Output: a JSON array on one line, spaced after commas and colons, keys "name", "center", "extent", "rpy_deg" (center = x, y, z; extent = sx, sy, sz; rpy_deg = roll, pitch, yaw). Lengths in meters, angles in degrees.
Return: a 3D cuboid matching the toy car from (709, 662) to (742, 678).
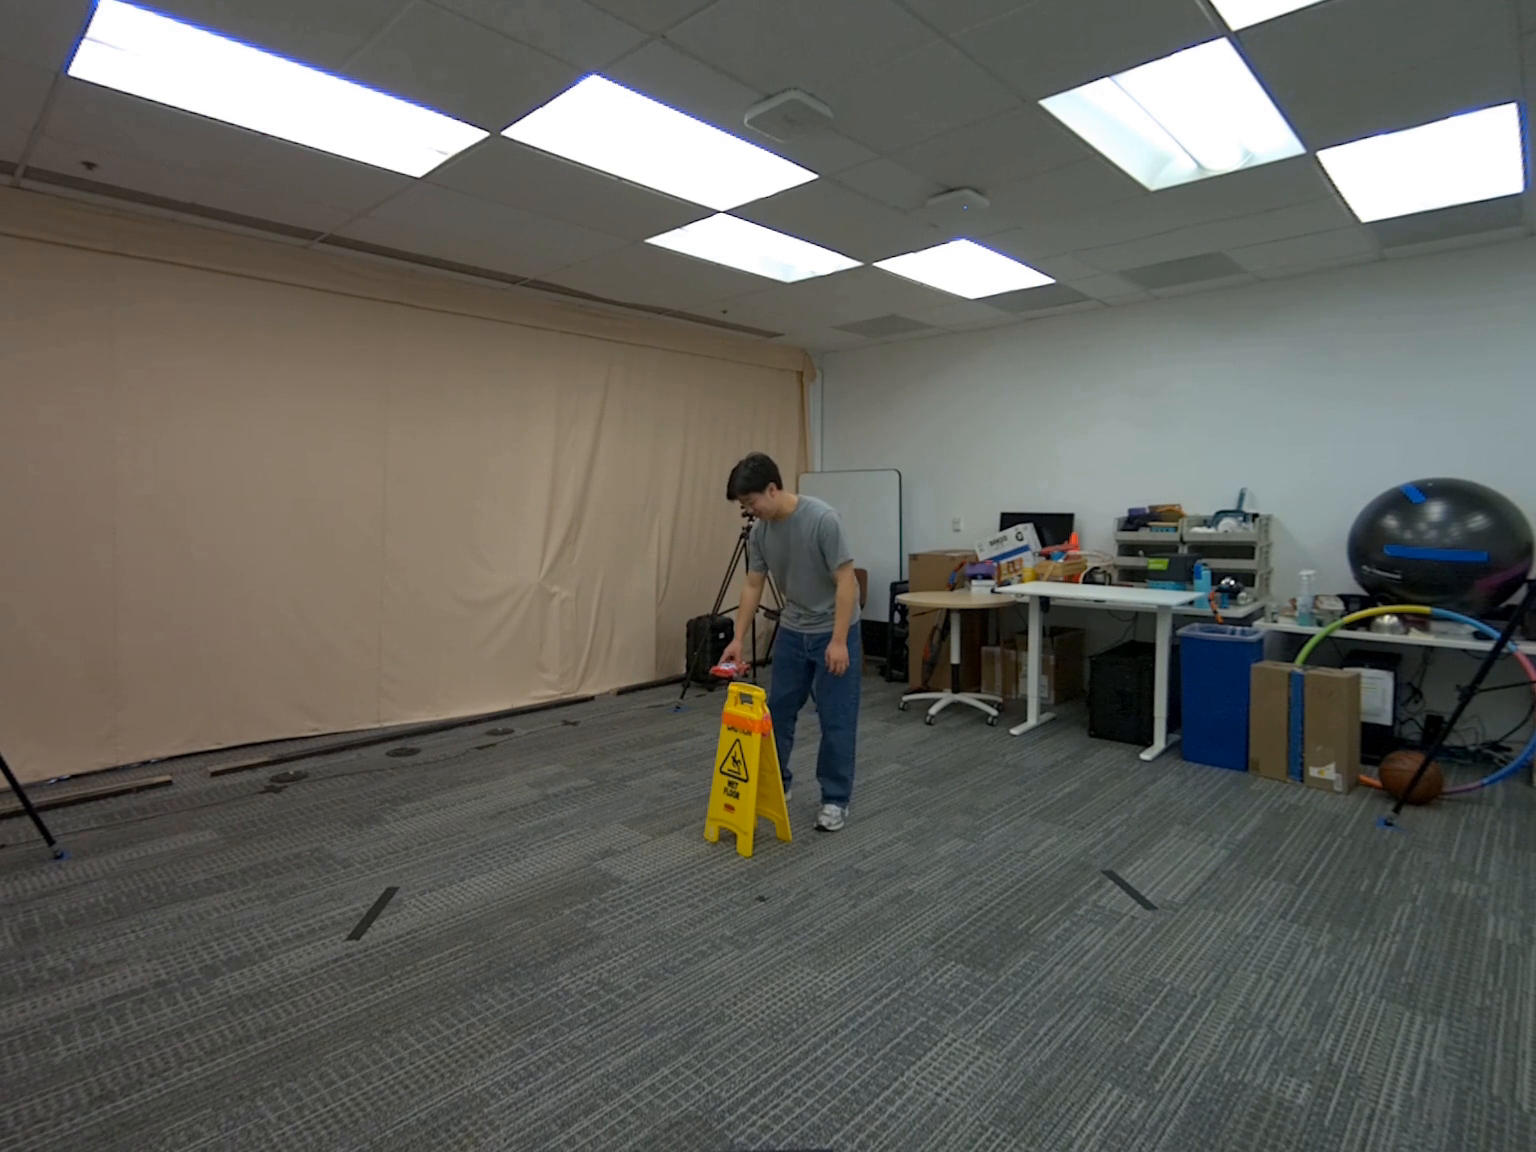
[{"name": "toy car", "center": [-0.157, 0.438, 3.869], "extent": [0.133, 0.083, 0.250], "rpy_deg": [3, 9, 23]}]
